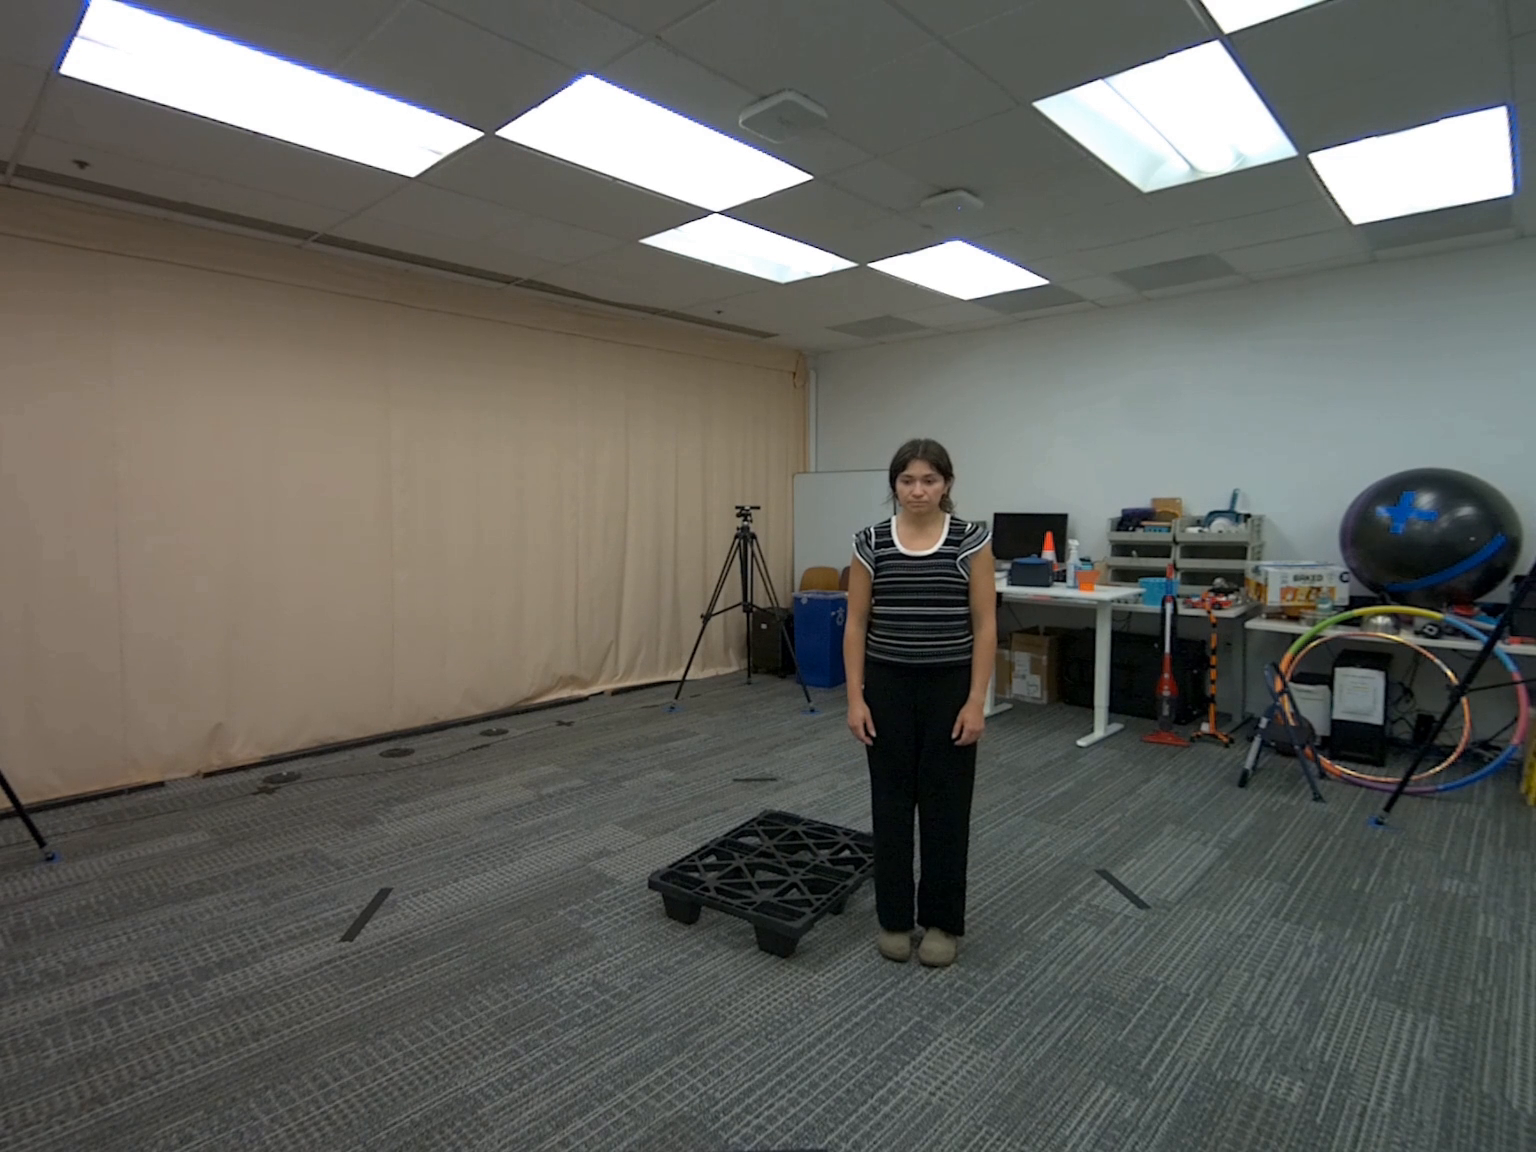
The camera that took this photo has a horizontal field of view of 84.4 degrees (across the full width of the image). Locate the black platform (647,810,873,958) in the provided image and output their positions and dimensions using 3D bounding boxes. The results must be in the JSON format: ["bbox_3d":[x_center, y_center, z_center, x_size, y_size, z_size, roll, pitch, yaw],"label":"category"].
[{"bbox_3d":[0.055,1.073,3.013,0.624,0.143,0.783,4,6,33],"label":"black platform"}]
